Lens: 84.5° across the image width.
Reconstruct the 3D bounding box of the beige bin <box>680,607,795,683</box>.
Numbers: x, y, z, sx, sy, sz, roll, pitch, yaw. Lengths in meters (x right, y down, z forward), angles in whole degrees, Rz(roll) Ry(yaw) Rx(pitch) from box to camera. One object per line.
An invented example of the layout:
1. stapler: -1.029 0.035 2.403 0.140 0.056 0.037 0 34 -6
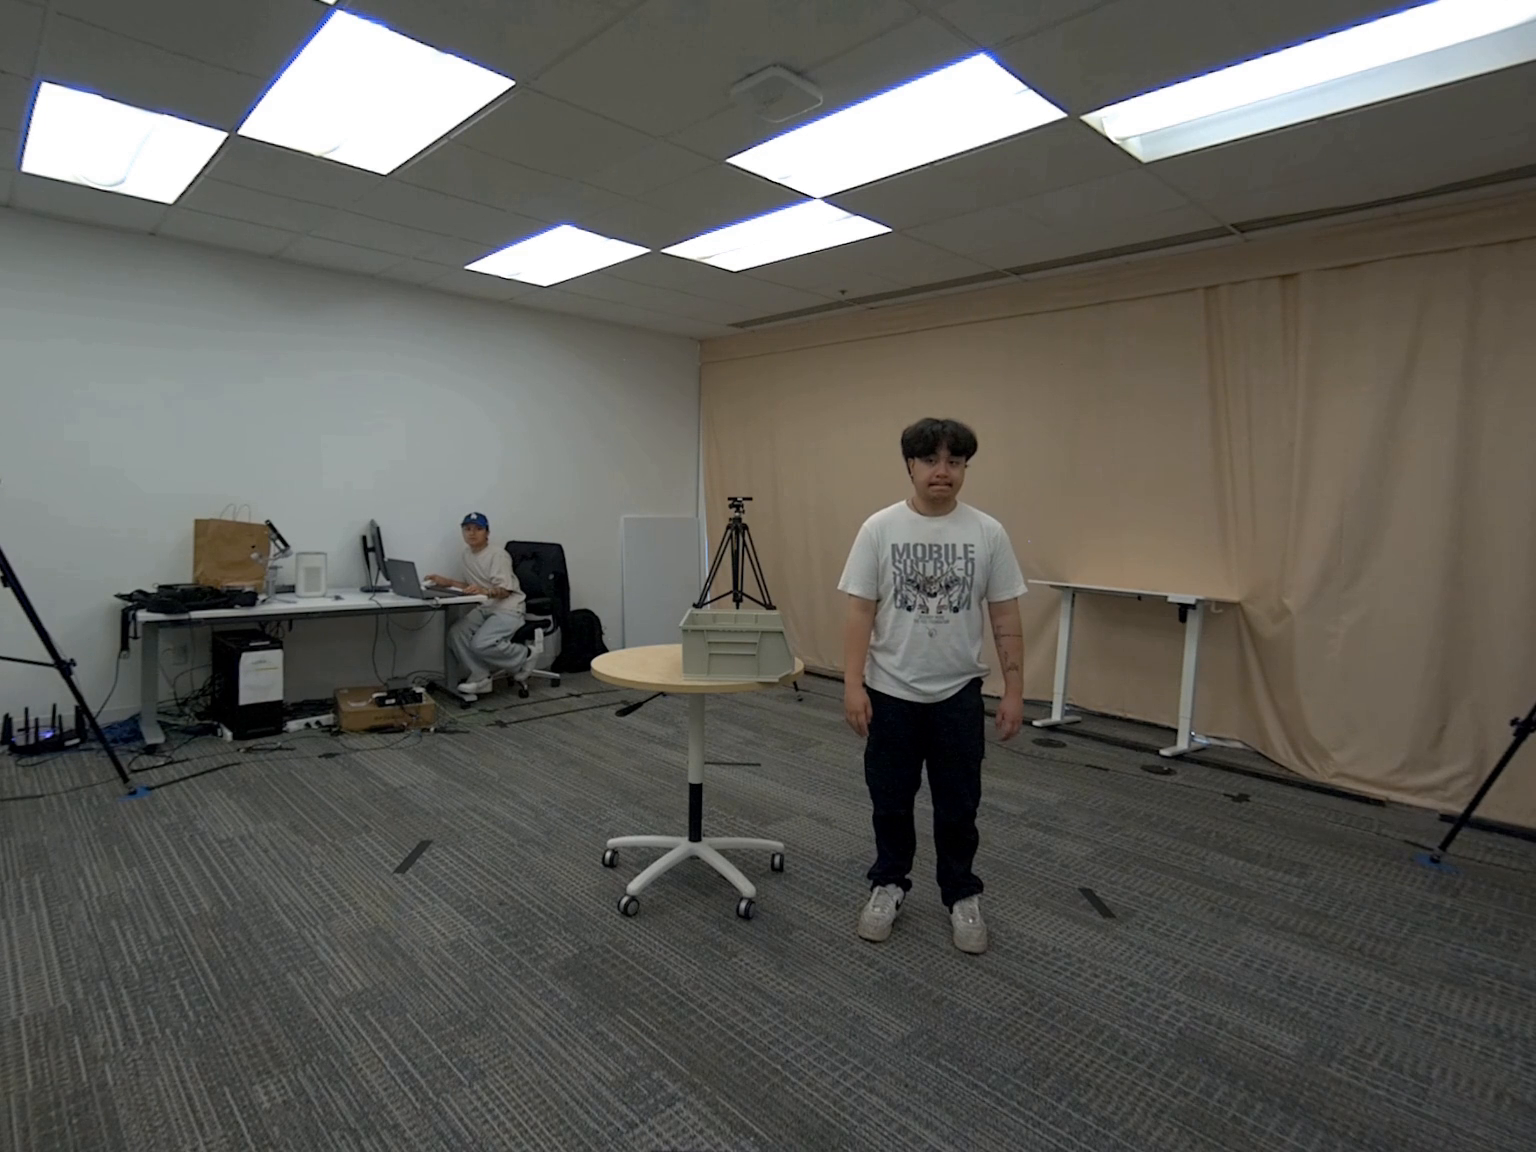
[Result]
1. beige bin: -0.106 0.234 2.929 0.377 0.188 0.423 0 5 0
